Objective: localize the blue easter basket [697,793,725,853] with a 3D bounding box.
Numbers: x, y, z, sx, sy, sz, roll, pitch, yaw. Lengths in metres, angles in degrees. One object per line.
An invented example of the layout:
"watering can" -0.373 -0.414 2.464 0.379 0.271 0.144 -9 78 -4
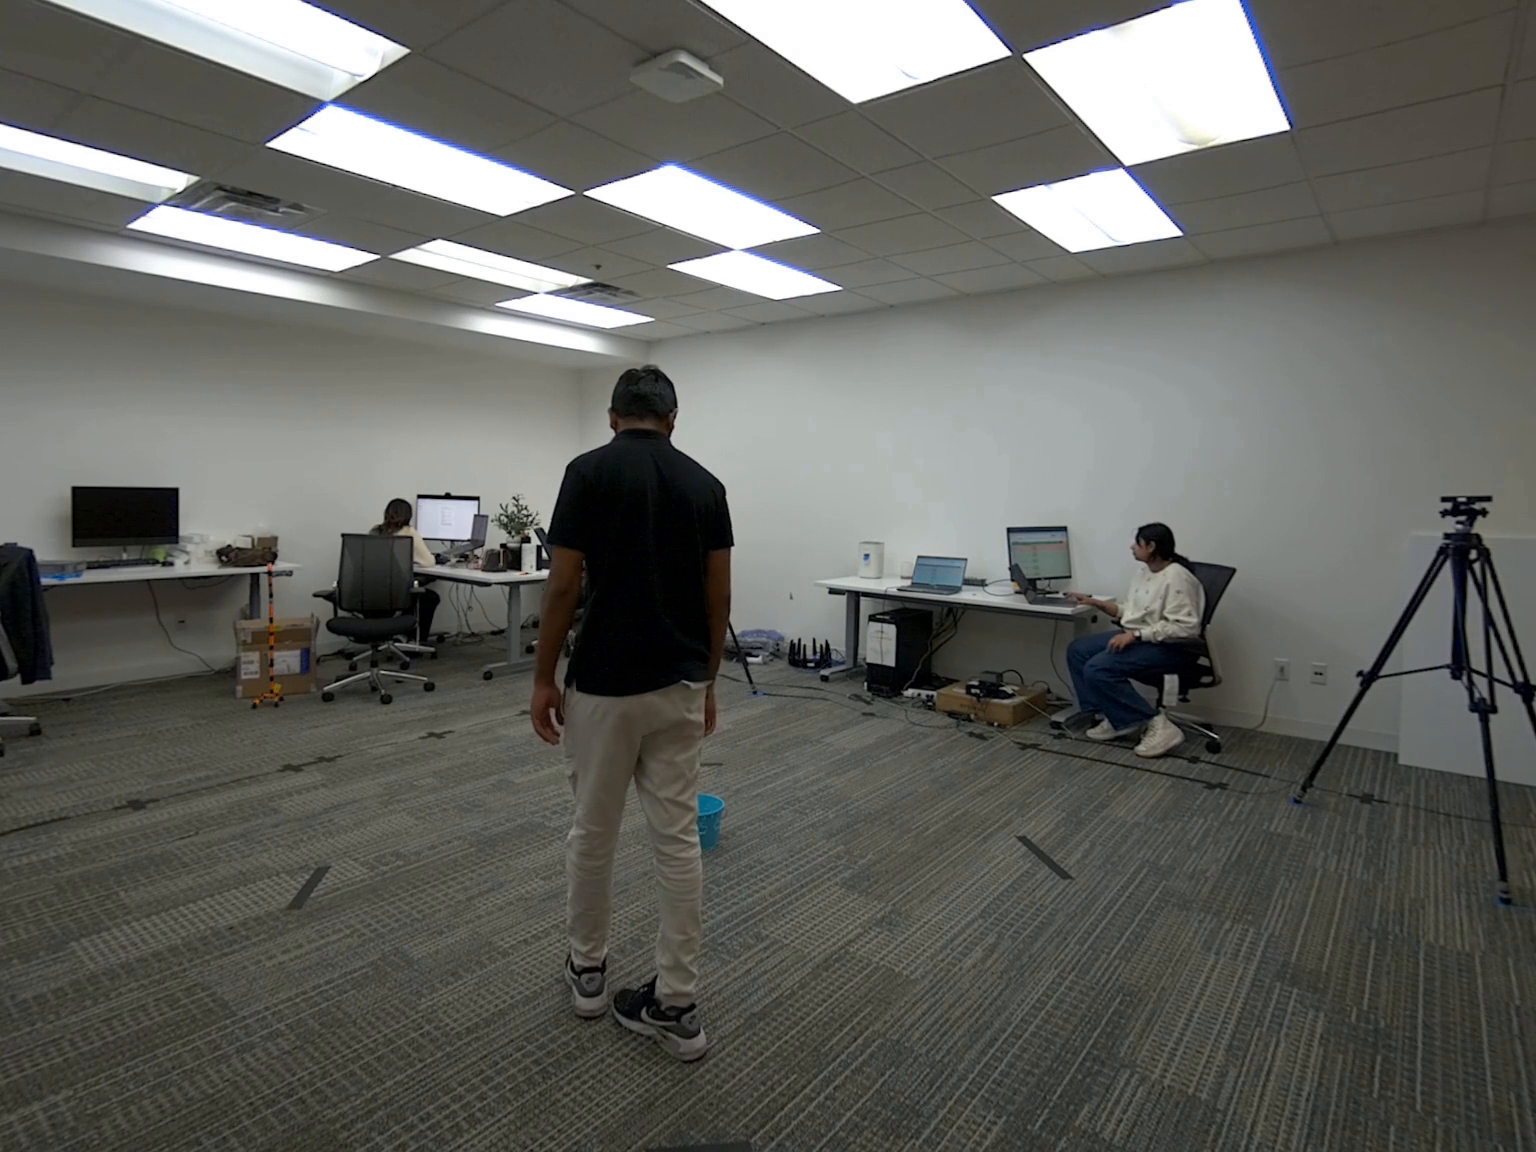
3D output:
"blue easter basket" -0.293 0.965 3.347 0.243 0.155 0.245 1 5 -2
